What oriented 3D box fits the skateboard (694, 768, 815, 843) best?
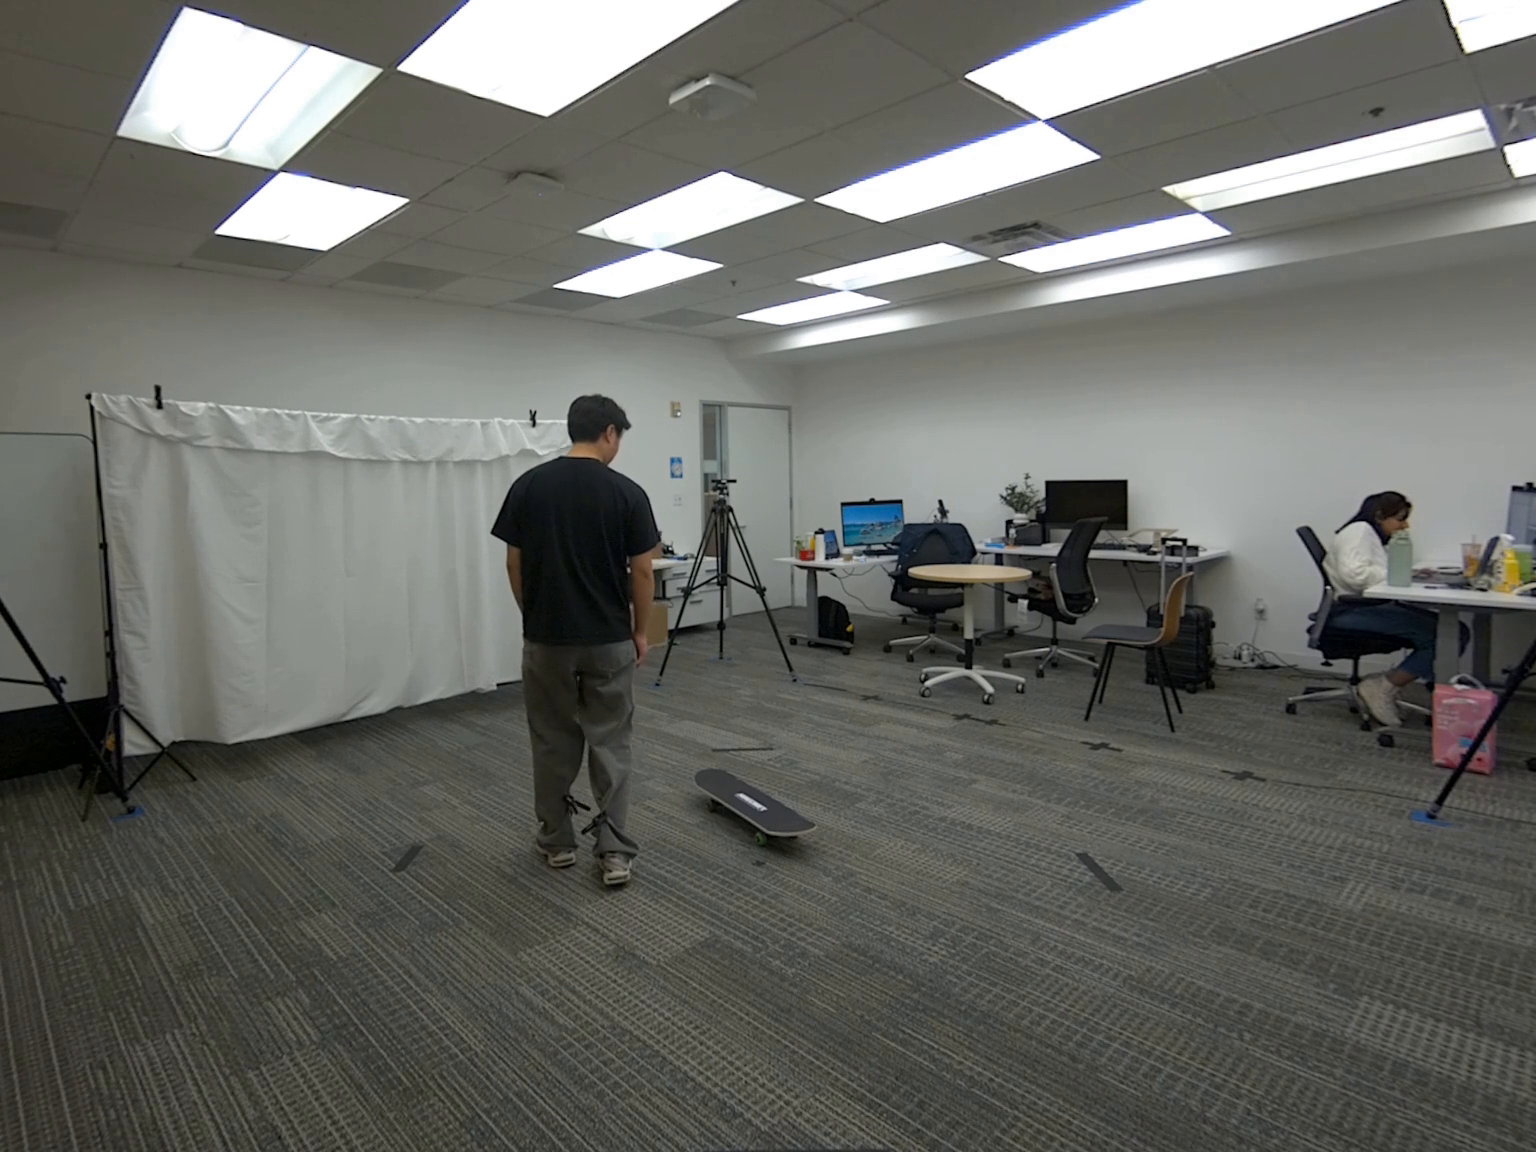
[{"bbox_3d":[-0.070,0.948,3.472,0.189,0.110,0.808,-4,7,-31],"label":"skateboard"}]
